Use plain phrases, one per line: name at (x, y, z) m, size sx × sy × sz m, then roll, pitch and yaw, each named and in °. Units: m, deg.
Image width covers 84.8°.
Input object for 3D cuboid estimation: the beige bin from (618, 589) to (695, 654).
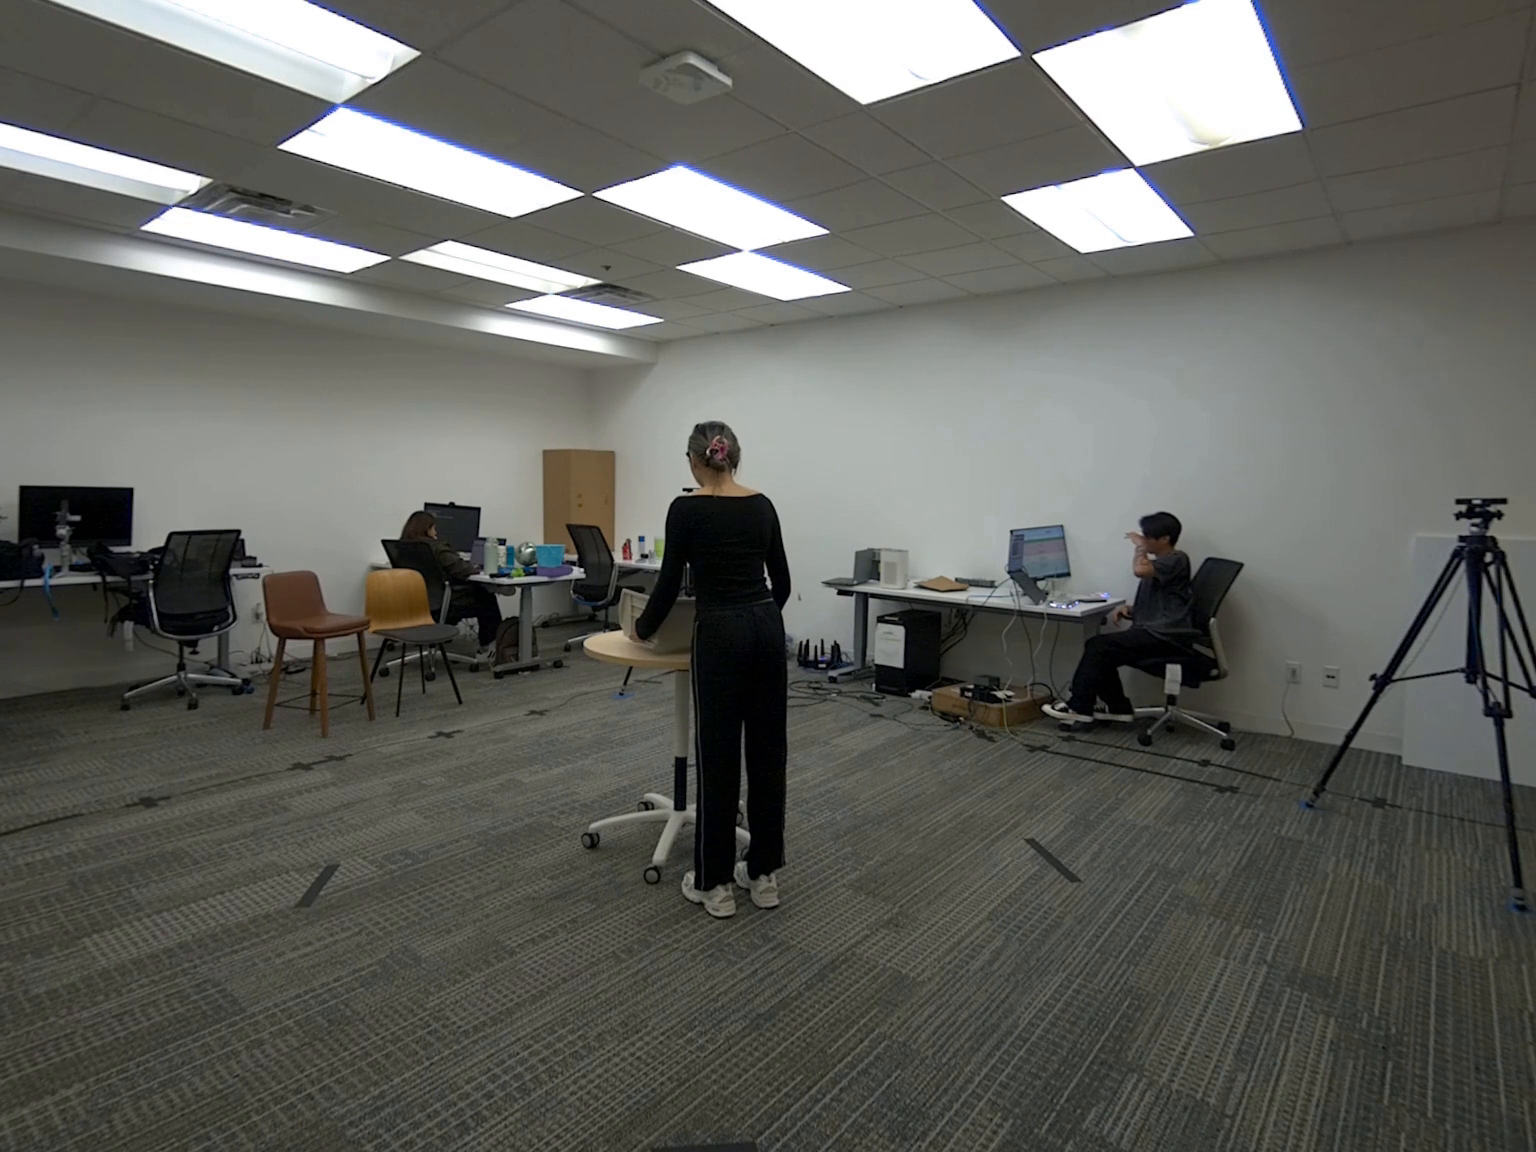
beige bin at (-0.320, 0.147, 3.232) m, size 0.411 × 0.188 × 0.389 m, roll 1°, pitch 6°, yaw -28°
